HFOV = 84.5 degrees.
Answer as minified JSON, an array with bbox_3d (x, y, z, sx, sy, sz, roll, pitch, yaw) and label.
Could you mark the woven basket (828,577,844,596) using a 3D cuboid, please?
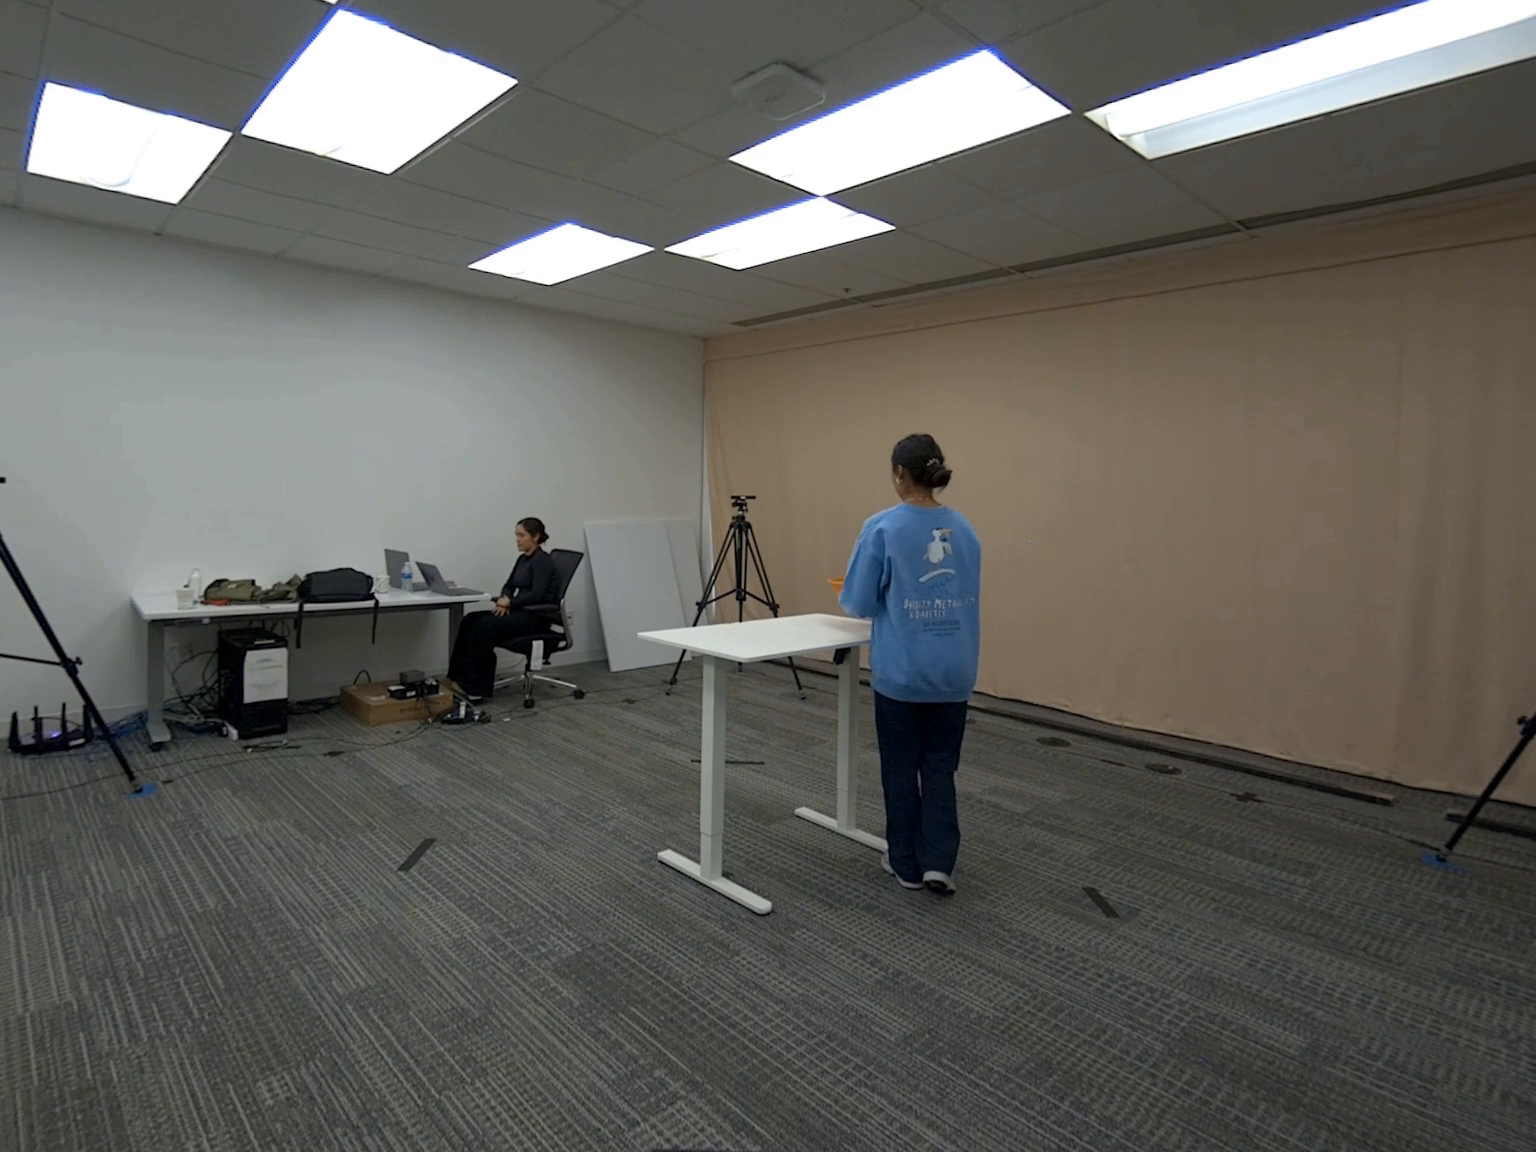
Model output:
[{"bbox_3d":[0.405,0.062,3.384,0.248,0.073,0.357,-5,5,-24],"label":"woven basket"}]
